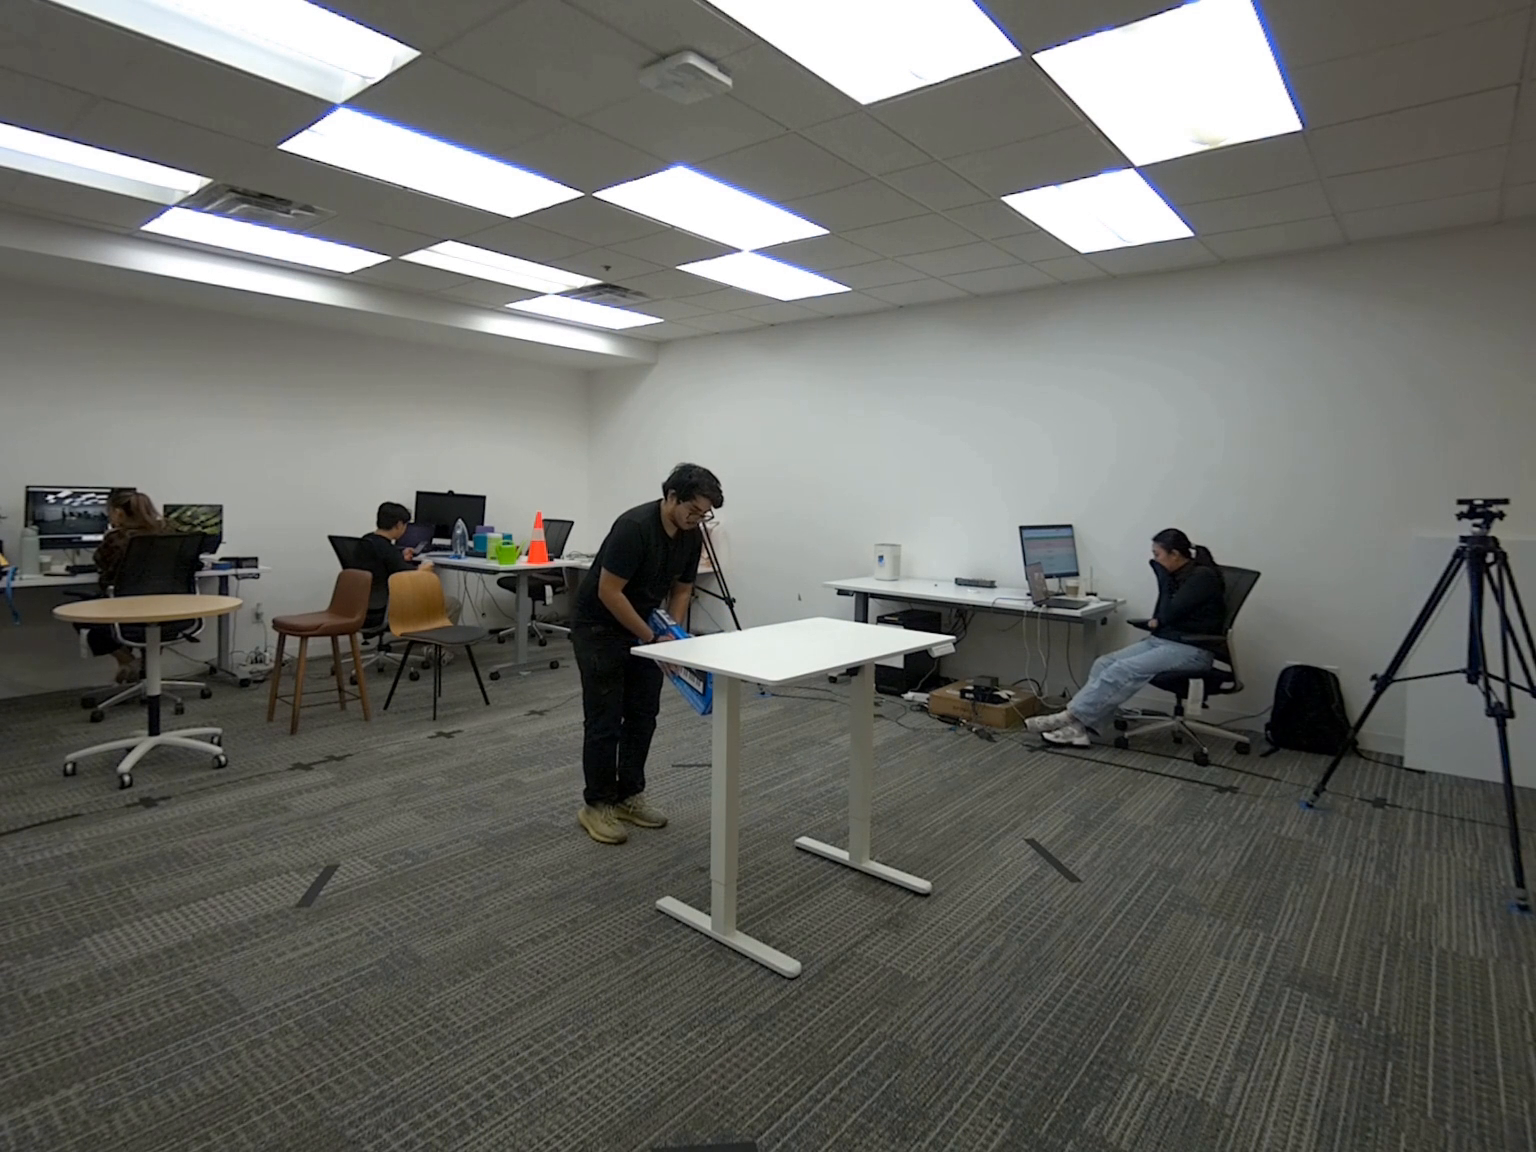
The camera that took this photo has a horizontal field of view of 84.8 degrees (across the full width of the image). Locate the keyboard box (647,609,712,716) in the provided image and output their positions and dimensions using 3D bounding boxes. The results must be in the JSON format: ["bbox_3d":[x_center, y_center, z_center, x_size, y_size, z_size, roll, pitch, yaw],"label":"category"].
[{"bbox_3d":[-0.344,0.333,3.322,0.057,0.174,0.454,-1,36,-48],"label":"keyboard box"}]
